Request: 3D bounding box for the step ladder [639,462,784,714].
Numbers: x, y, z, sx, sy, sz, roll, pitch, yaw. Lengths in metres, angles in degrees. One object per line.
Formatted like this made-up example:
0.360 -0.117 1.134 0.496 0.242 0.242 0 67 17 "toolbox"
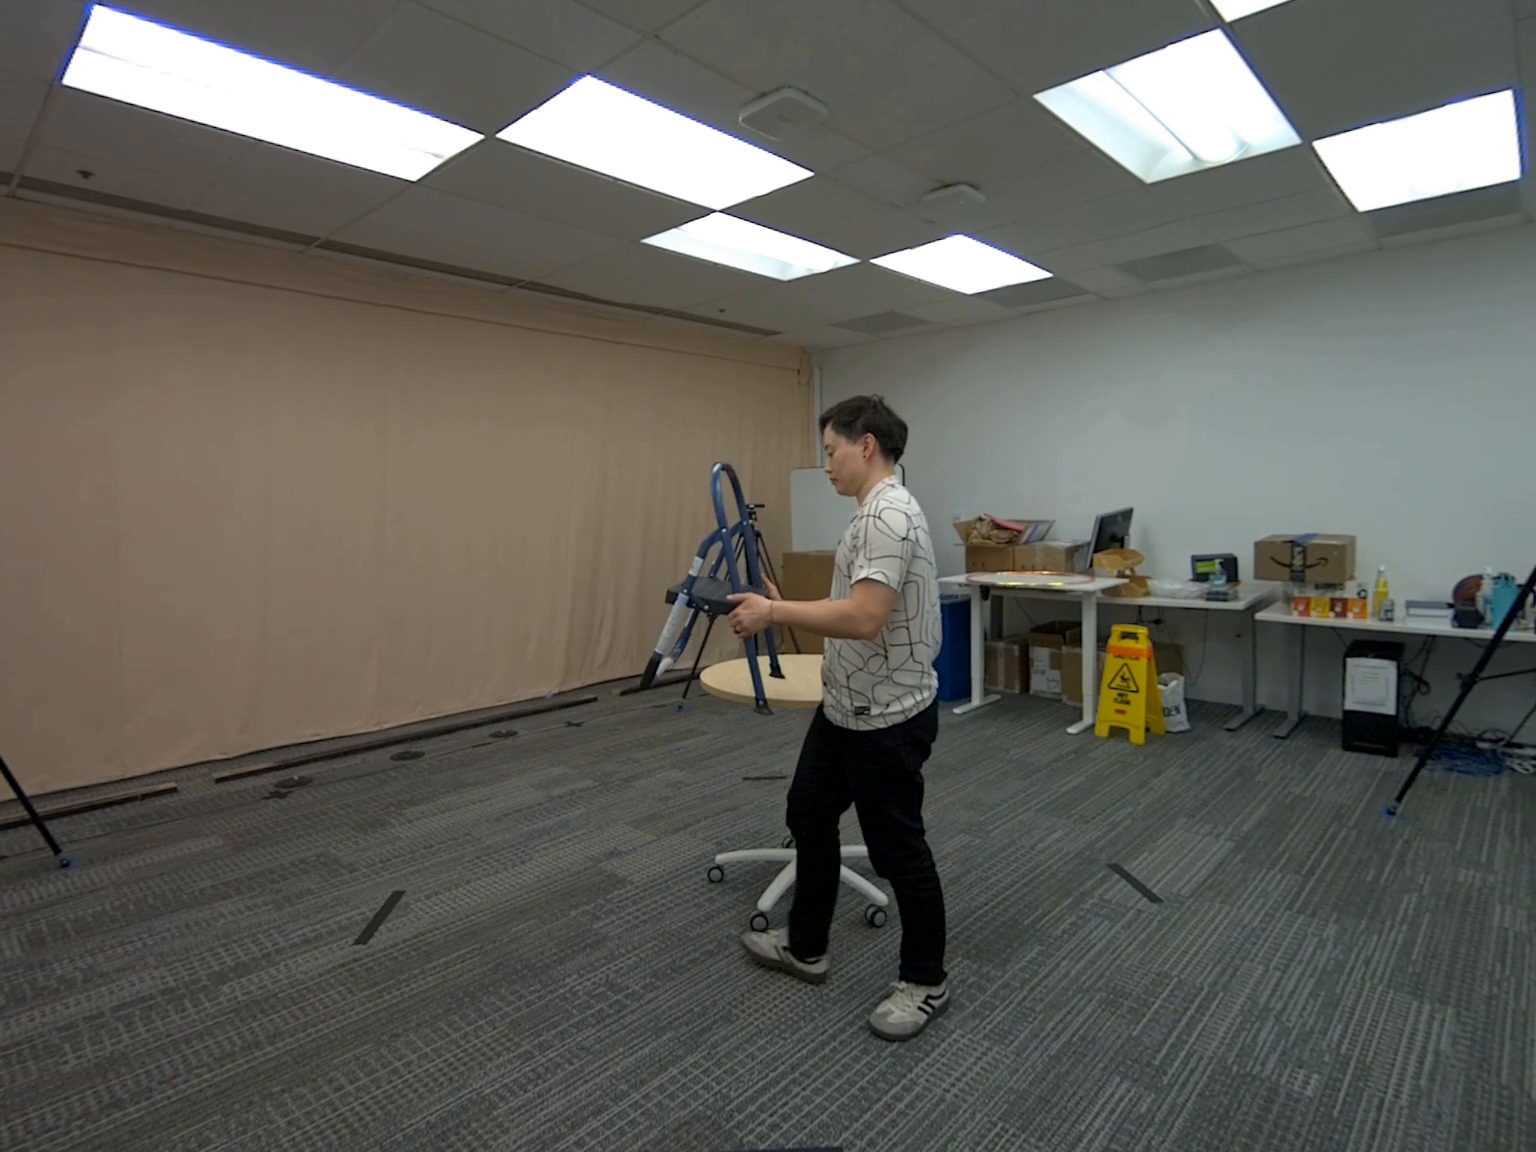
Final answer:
-0.089 0.004 2.307 0.352 0.604 0.429 9 5 5 "step ladder"
